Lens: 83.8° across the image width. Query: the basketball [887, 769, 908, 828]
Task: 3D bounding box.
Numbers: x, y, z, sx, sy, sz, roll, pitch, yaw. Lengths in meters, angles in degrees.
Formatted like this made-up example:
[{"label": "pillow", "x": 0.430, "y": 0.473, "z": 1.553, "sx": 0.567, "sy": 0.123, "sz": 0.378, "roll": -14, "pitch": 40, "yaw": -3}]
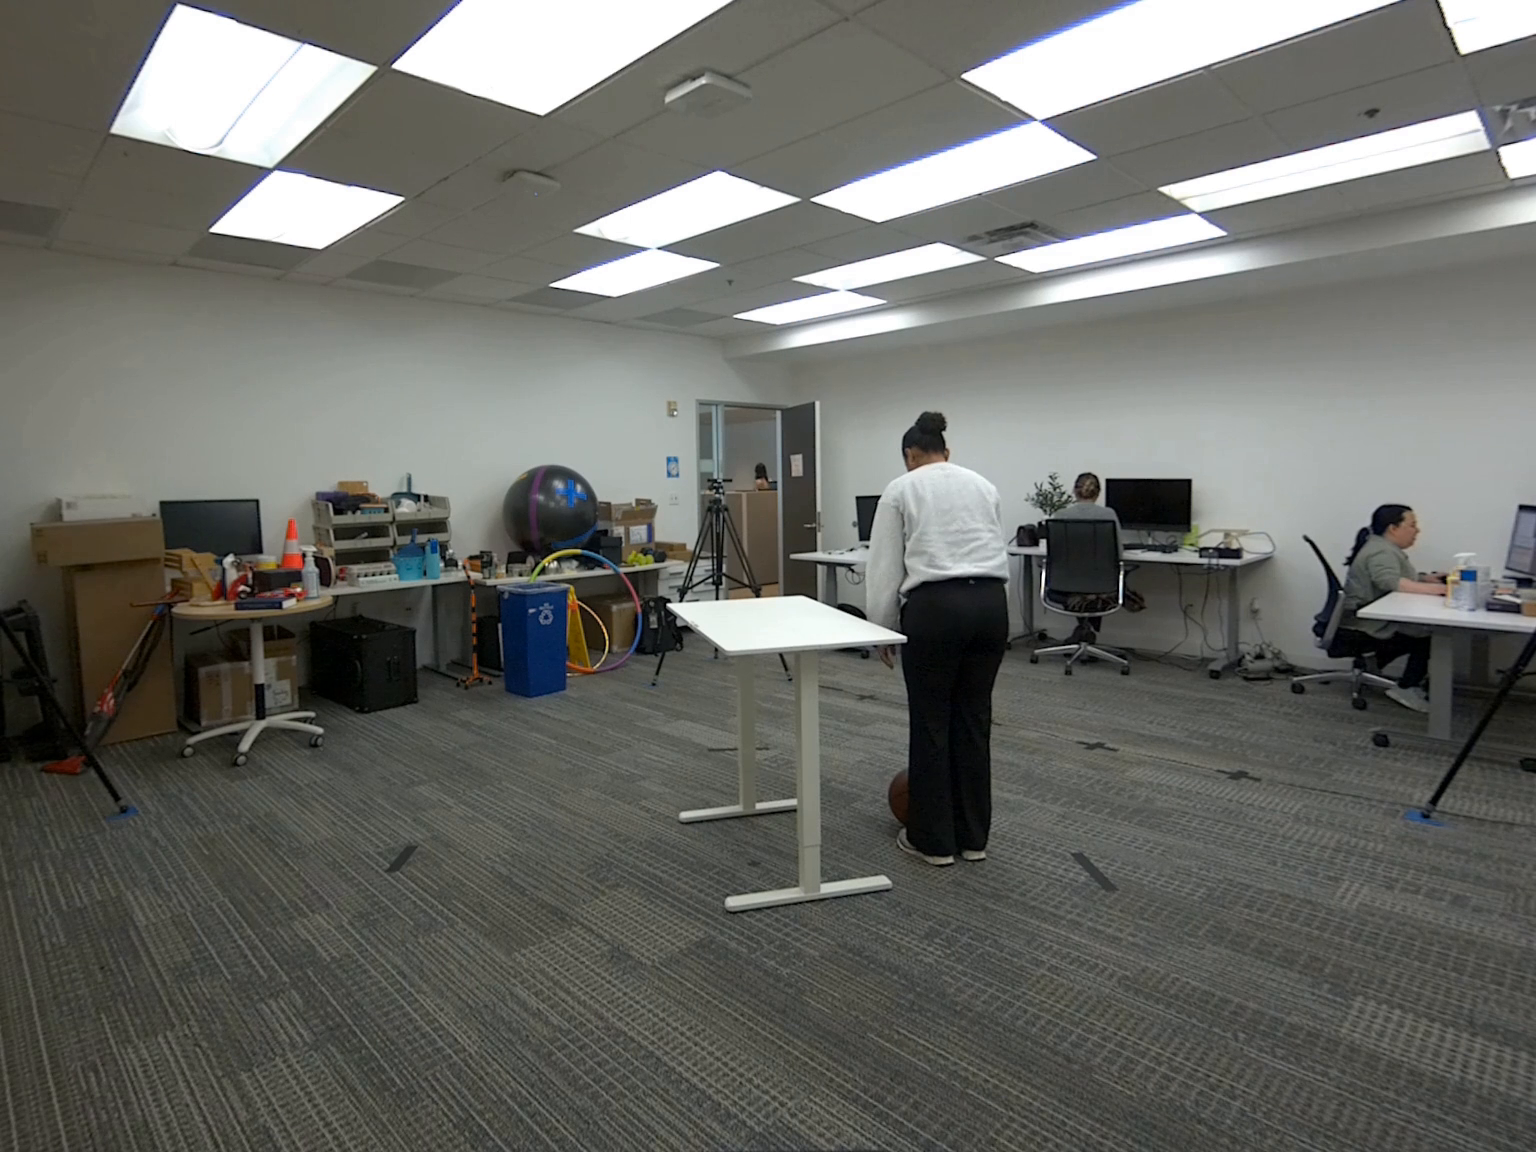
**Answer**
[{"label": "basketball", "x": 0.604, "y": 0.884, "z": 3.395, "sx": 0.236, "sy": 0.235, "sz": 0.237, "roll": -1, "pitch": 5, "yaw": -2}]
